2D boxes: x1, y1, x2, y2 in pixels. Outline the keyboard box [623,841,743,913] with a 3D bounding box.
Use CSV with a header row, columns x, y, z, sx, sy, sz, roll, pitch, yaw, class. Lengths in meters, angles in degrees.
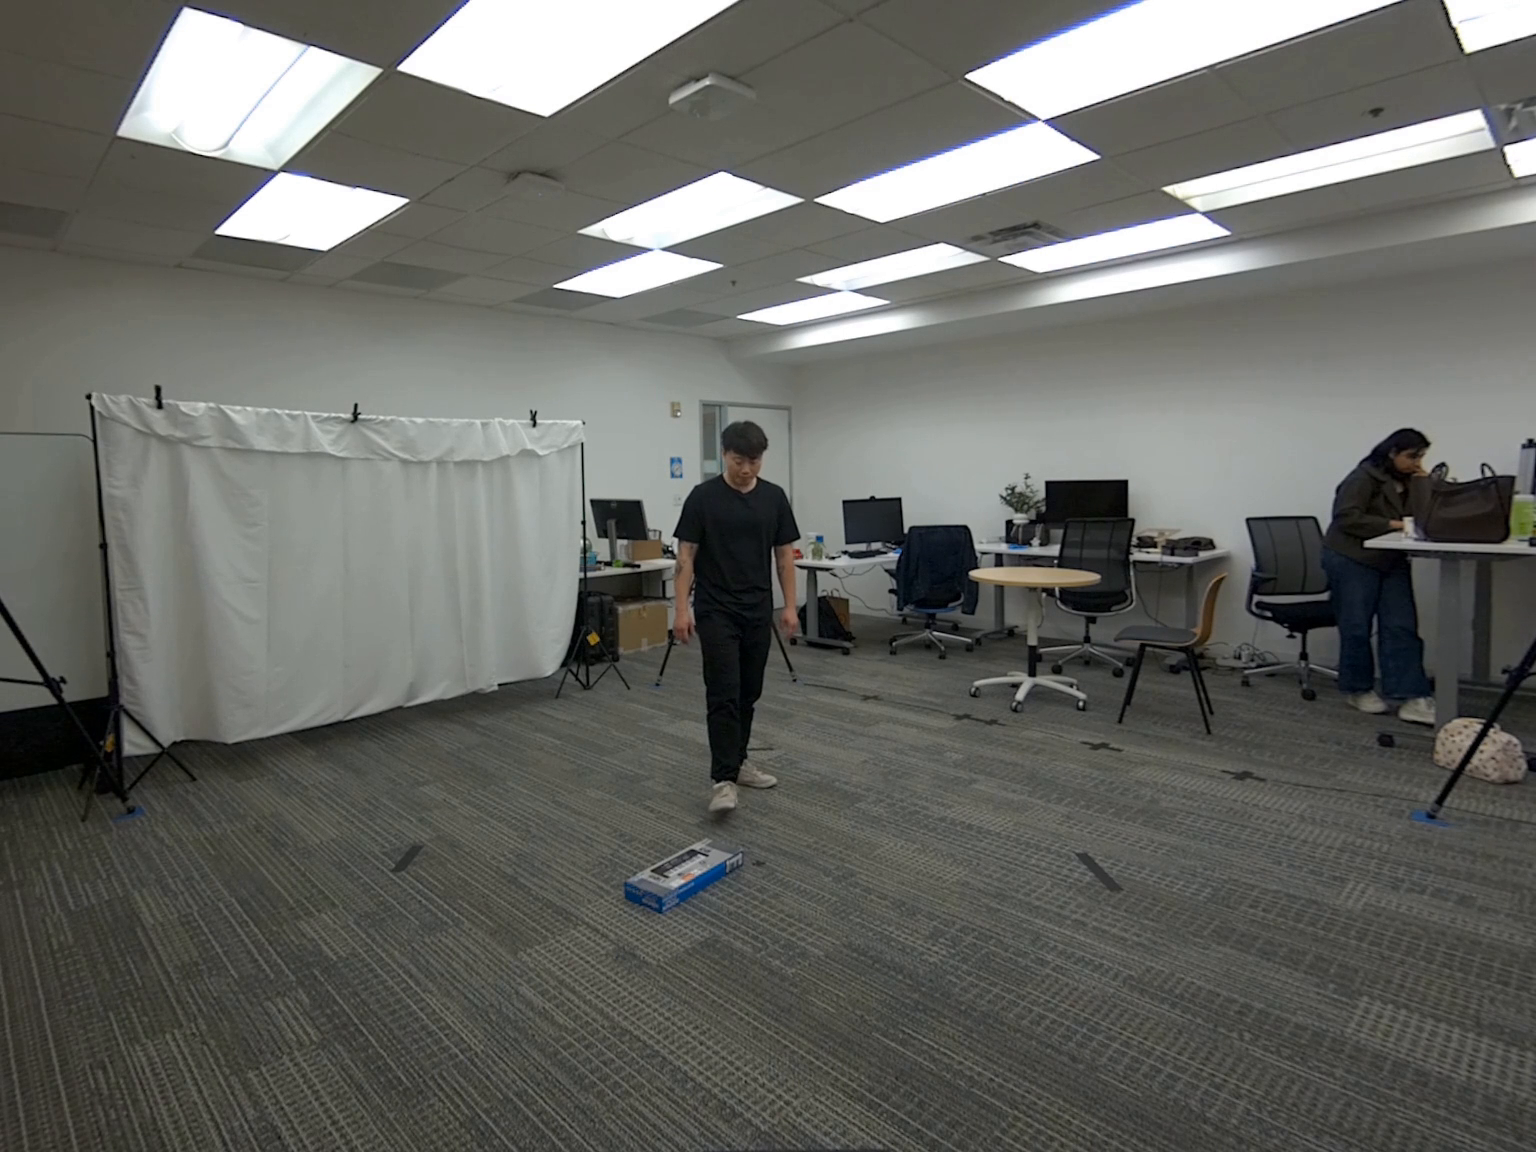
x,y,z,sx,sy,sz,roll,pitch,yaw,class
-0.283,1.037,2.978,0.181,0.059,0.426,4,9,37,keyboard box
